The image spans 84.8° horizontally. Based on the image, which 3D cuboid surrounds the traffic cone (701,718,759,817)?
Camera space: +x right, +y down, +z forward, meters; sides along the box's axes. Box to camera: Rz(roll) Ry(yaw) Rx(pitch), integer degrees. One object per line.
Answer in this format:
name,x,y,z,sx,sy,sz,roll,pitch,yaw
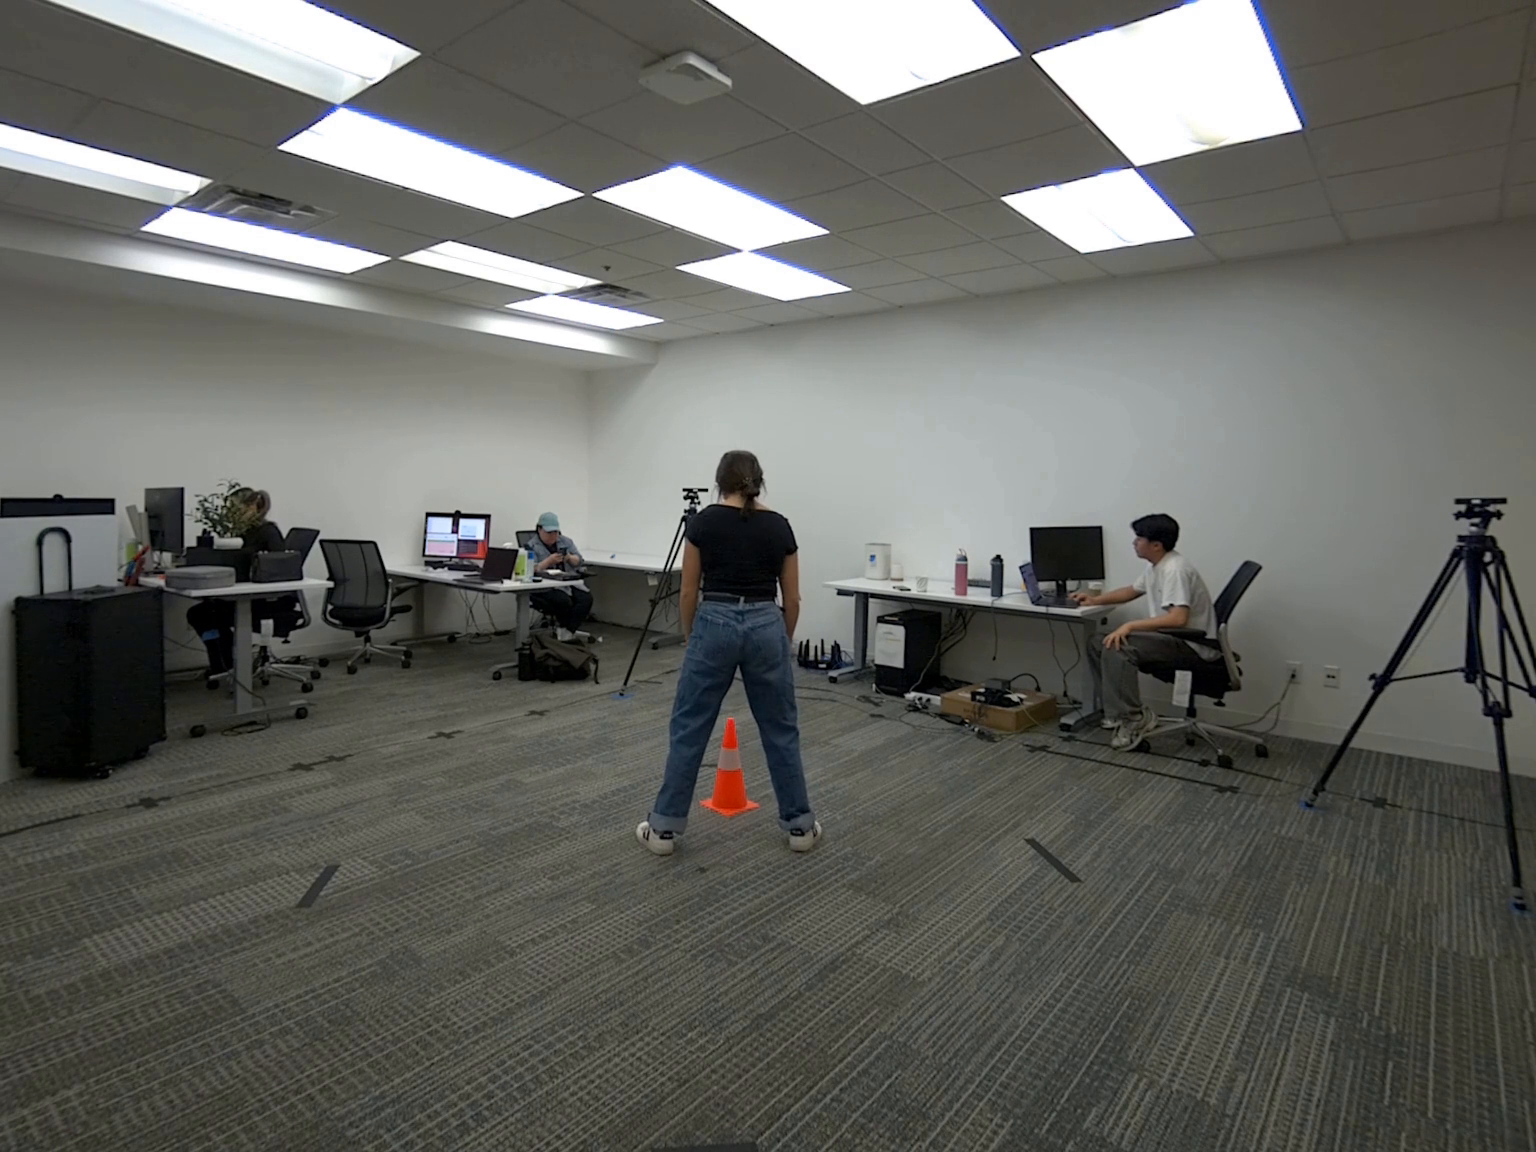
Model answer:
traffic cone,-0.167,0.815,3.769,0.197,0.383,0.211,1,1,-38
